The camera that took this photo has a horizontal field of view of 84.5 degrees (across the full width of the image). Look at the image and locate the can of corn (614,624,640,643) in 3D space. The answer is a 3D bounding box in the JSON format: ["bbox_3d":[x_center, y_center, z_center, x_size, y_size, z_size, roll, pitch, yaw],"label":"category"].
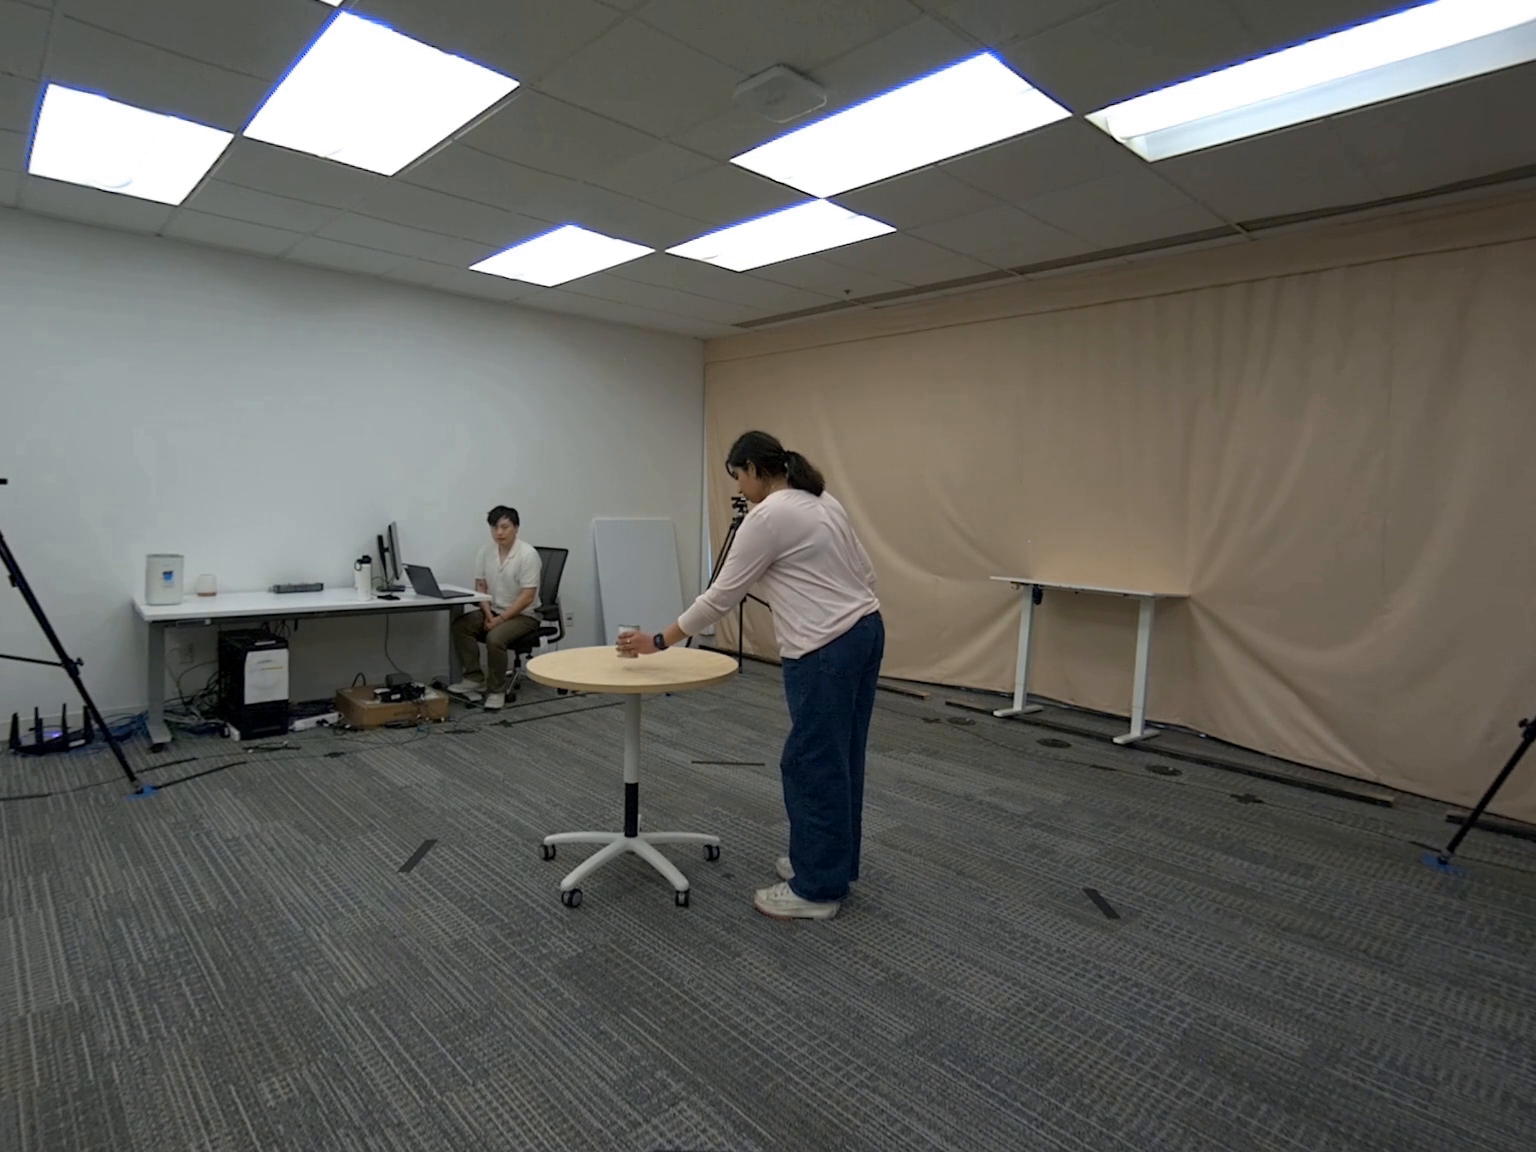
[{"bbox_3d":[-0.484,0.232,2.957,0.074,0.111,0.074,3,-1,-1],"label":"can of corn"}]
